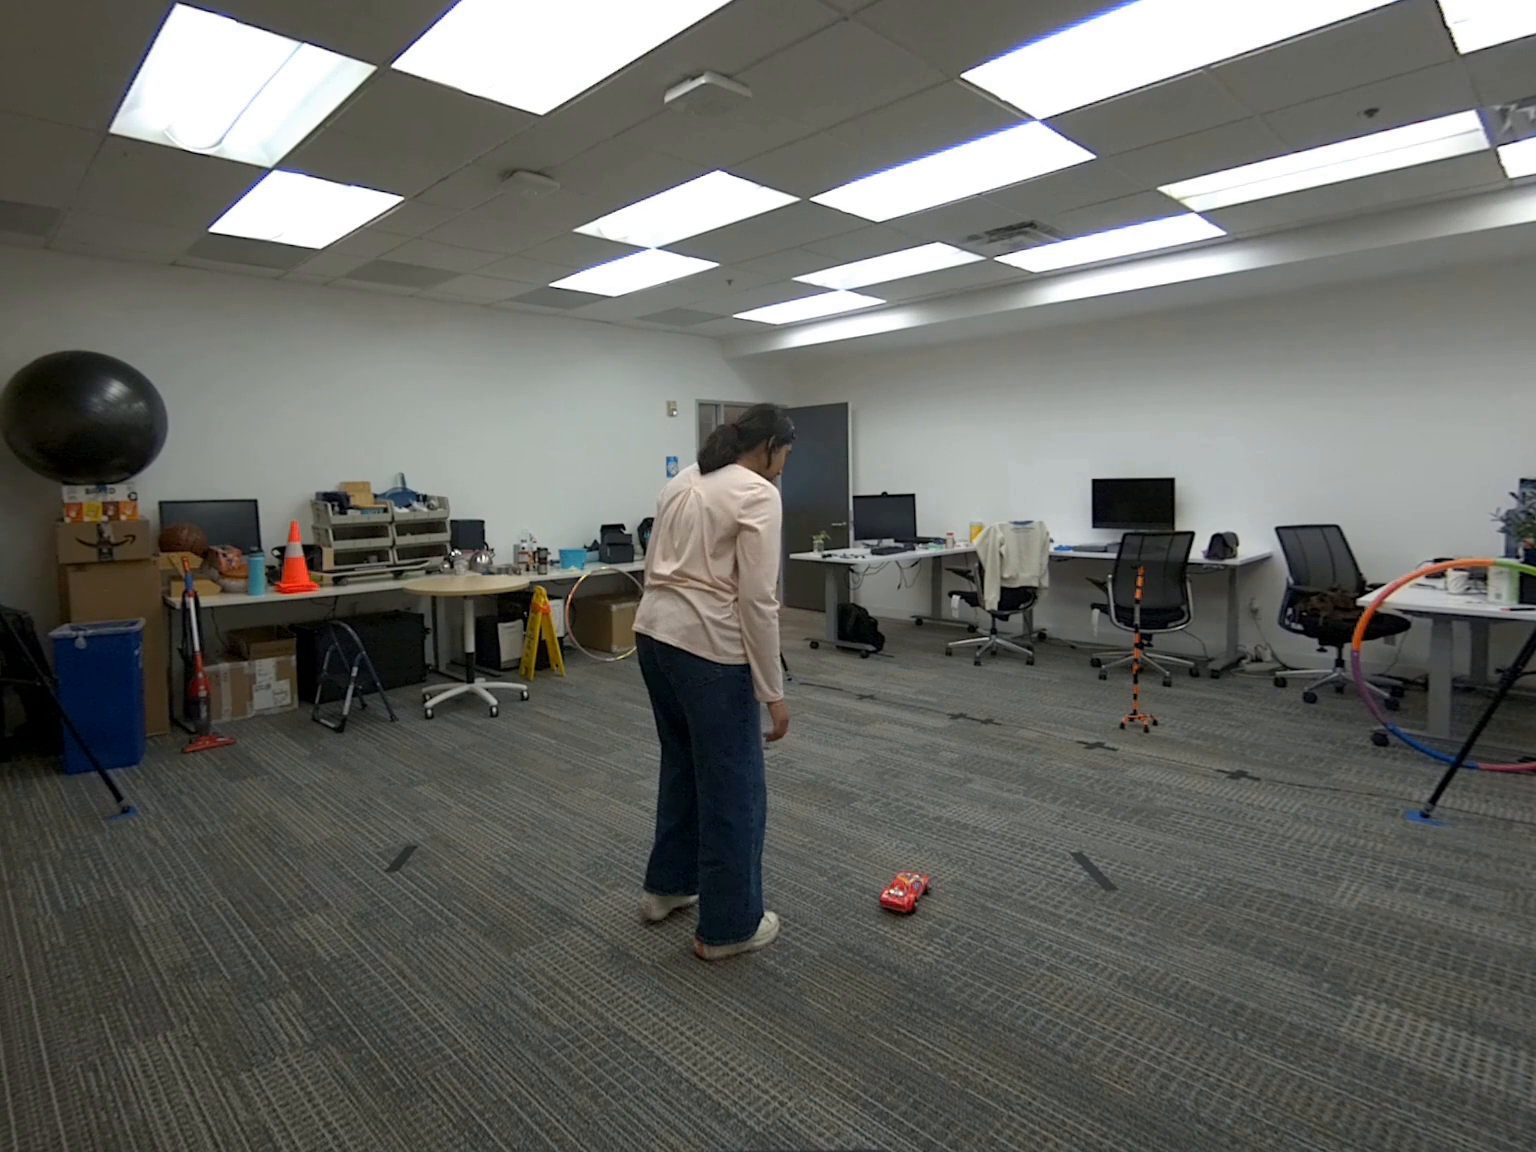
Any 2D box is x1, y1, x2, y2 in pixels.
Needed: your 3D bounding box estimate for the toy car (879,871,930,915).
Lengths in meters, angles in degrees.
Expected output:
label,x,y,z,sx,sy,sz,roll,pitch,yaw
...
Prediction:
label,x,y,z,sx,sy,sz,roll,pitch,yaw
toy car,0.454,1.040,2.800,0.134,0.083,0.247,3,-3,29
